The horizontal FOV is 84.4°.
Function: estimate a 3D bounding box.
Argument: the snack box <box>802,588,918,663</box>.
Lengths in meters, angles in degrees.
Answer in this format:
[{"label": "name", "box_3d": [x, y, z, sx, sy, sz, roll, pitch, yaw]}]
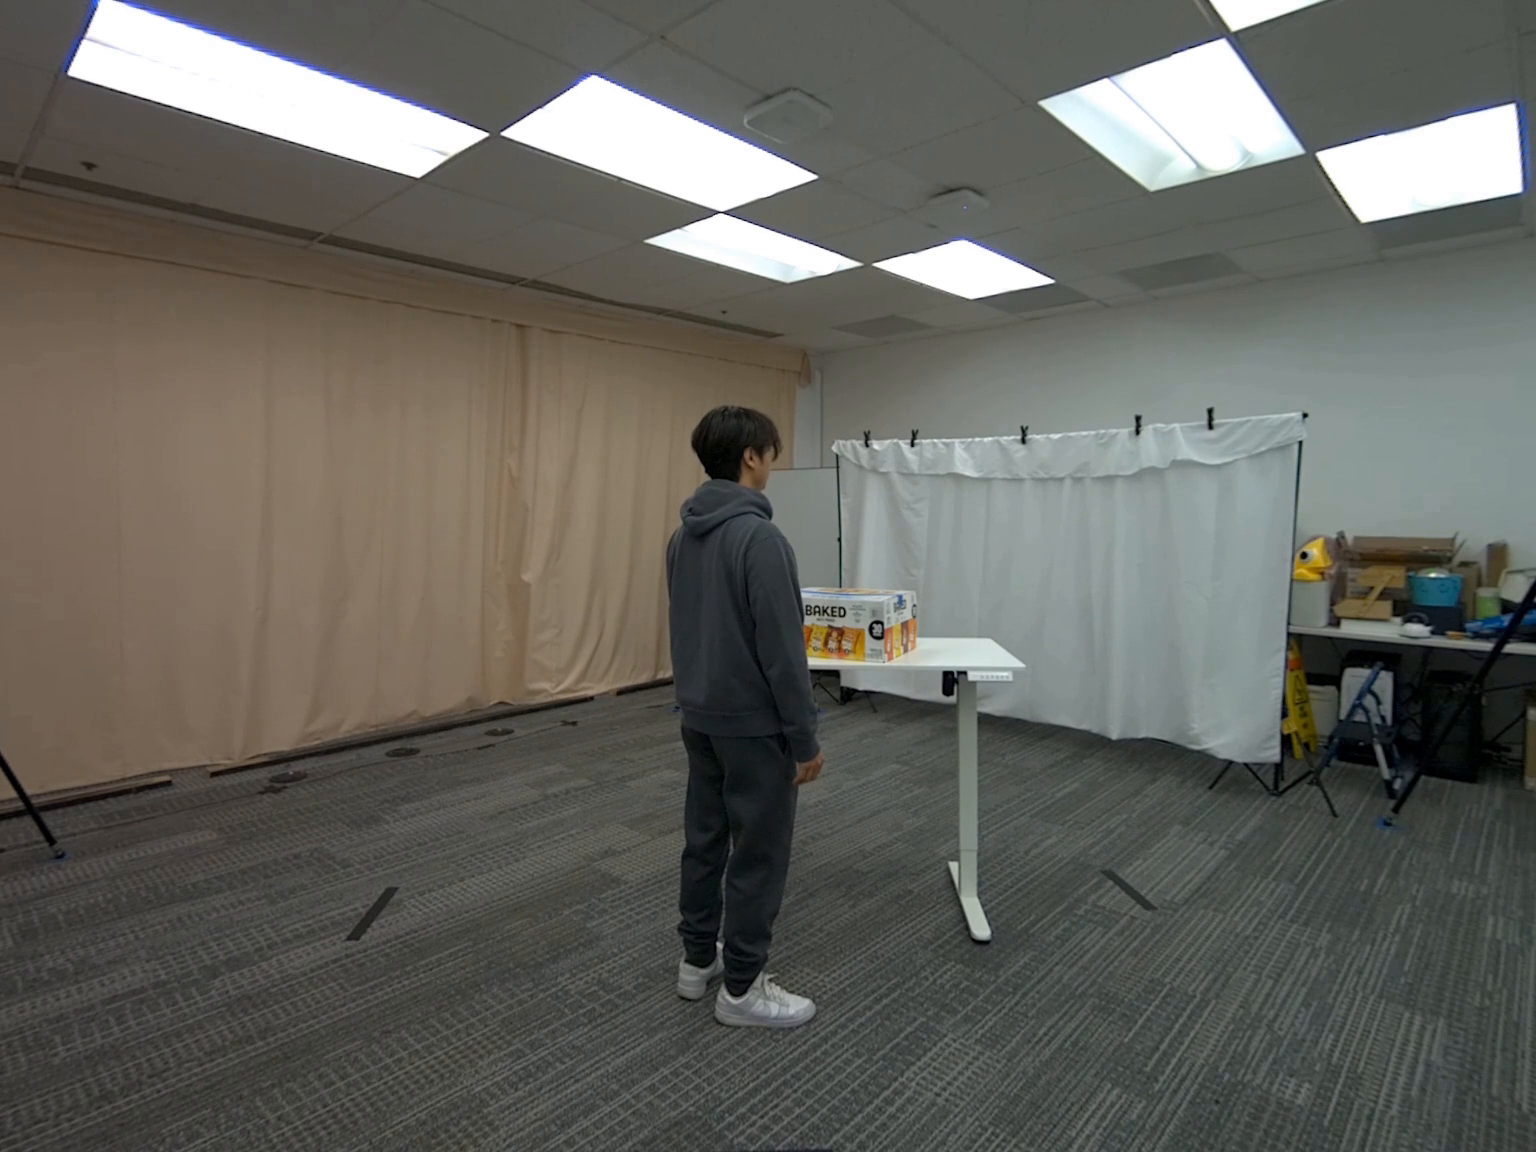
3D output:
[{"label": "snack box", "box_3d": [0.273, 0.163, 2.940, 0.416, 0.205, 0.331, 1, 4, 29]}]
